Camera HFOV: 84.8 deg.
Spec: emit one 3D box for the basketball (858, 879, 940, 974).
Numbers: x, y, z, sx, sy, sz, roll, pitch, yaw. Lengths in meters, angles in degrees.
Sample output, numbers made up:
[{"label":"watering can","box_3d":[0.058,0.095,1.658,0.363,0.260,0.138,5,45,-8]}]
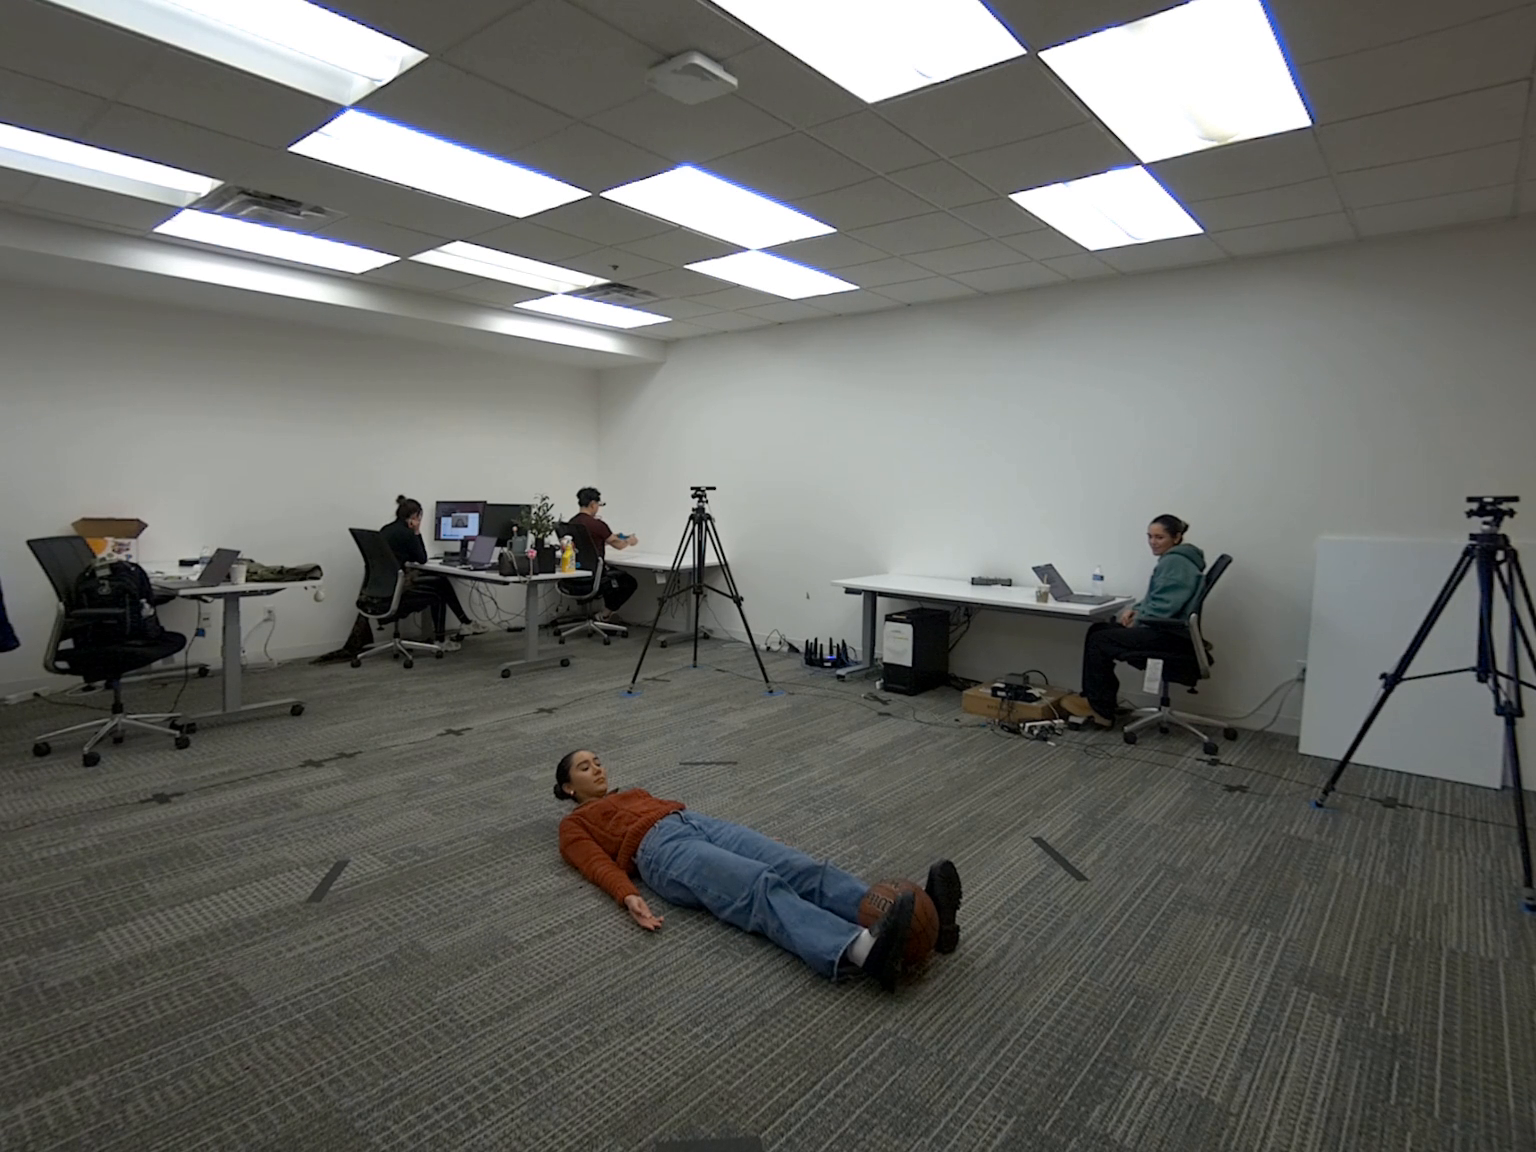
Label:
[{"label":"basketball","box_3d":[0.384,1.023,2.517,0.236,0.235,0.237,1,4,-2]}]
